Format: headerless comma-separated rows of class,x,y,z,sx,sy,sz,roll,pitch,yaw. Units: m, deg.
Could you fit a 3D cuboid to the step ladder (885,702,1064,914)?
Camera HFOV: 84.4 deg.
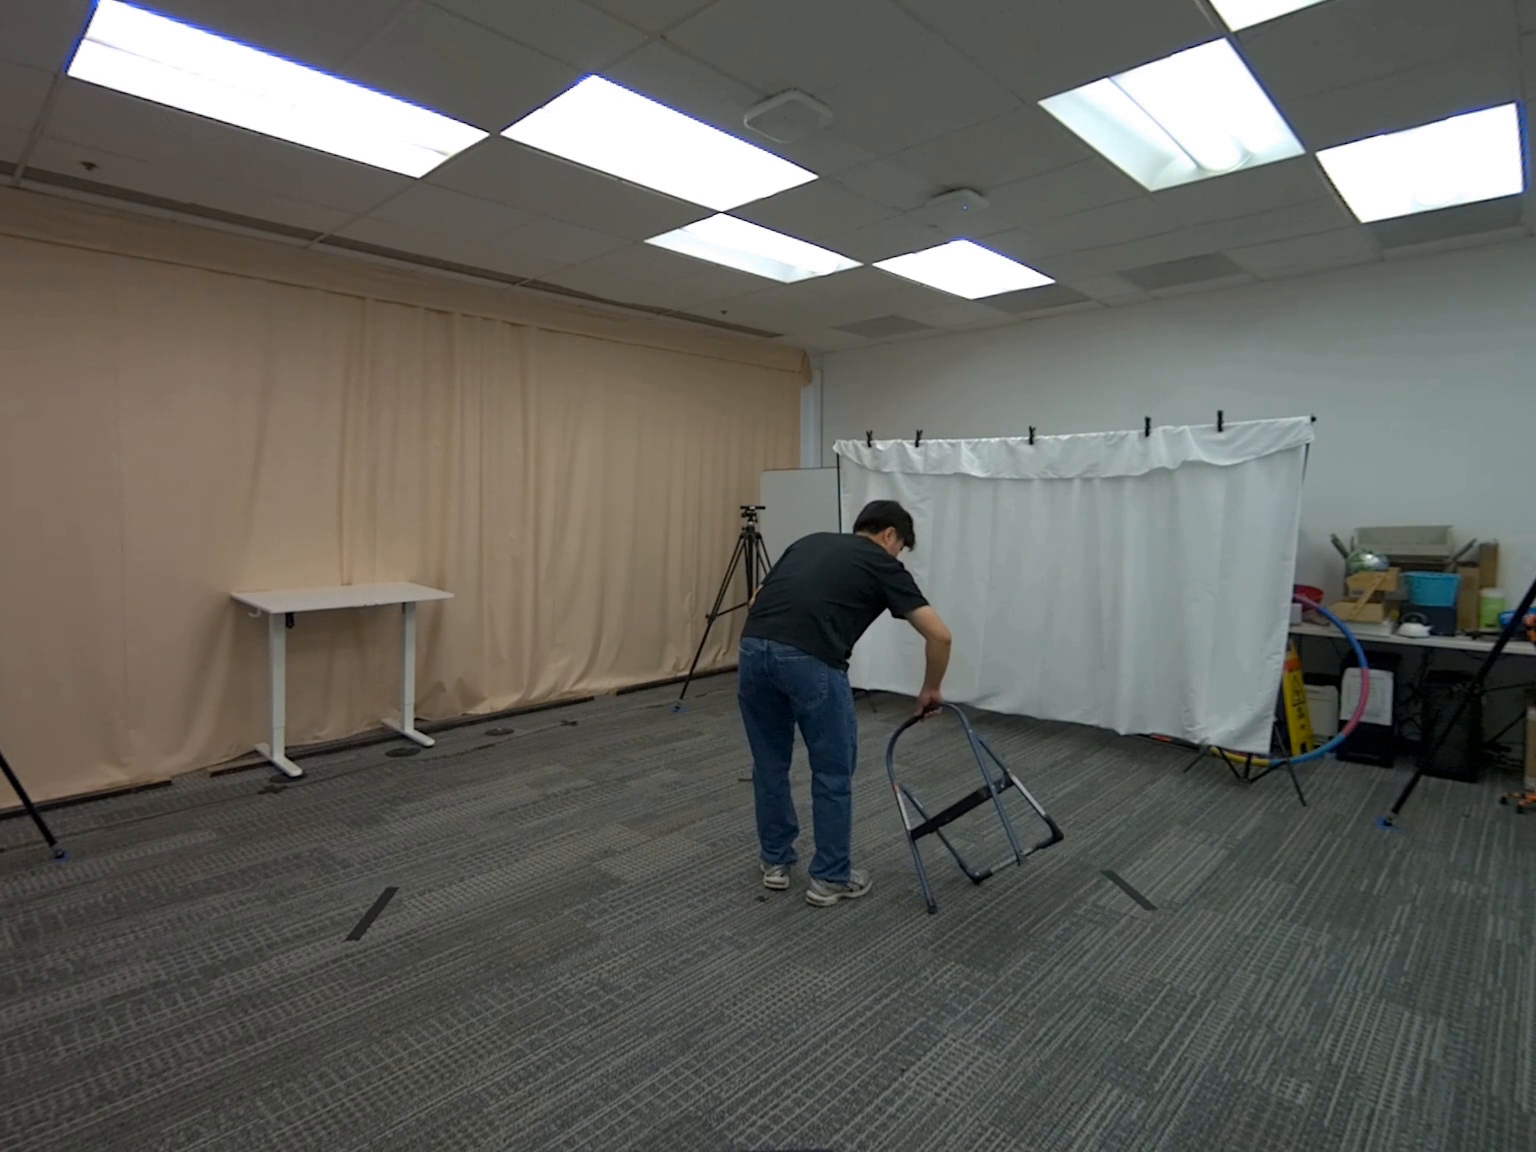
step ladder,0.659,0.777,2.999,0.338,0.620,0.434,0,-36,-48
